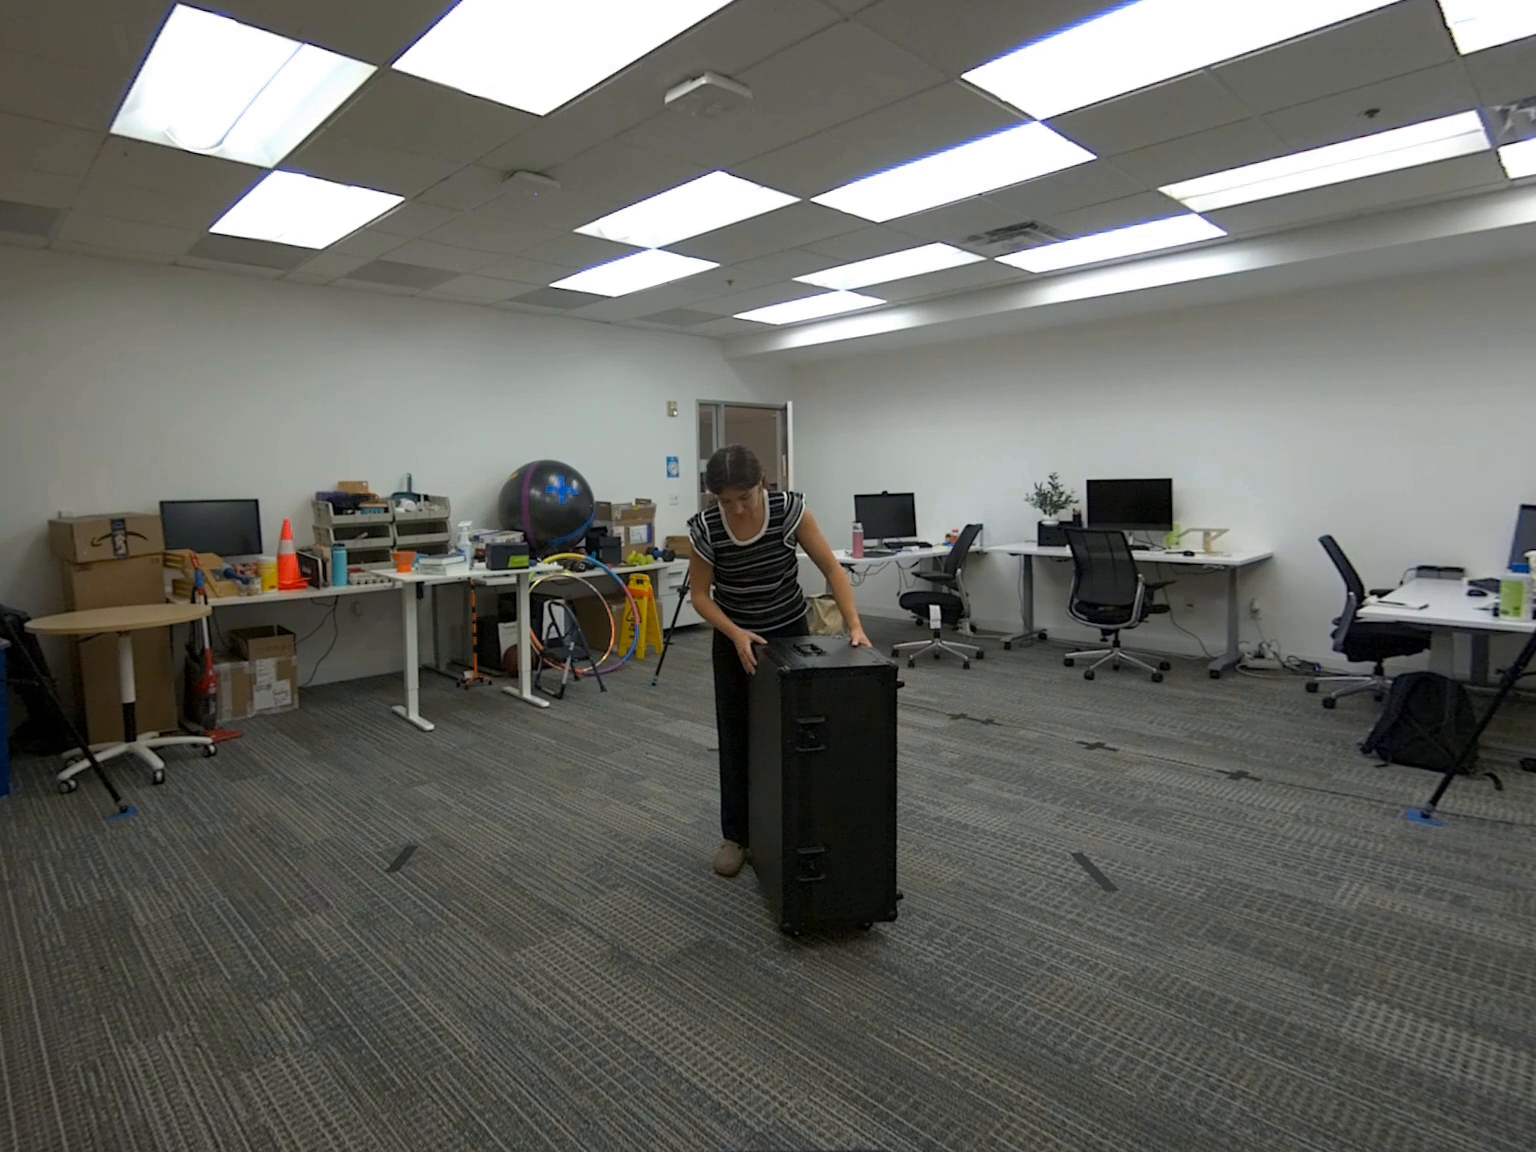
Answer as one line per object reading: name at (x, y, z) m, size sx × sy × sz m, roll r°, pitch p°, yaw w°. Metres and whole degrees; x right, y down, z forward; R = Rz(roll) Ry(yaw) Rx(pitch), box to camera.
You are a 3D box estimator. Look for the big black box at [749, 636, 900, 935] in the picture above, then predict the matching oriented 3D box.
big black box at (0.174, 0.660, 2.735) m, size 0.392 × 0.858 × 0.529 m, roll -1°, pitch 4°, yaw -12°
